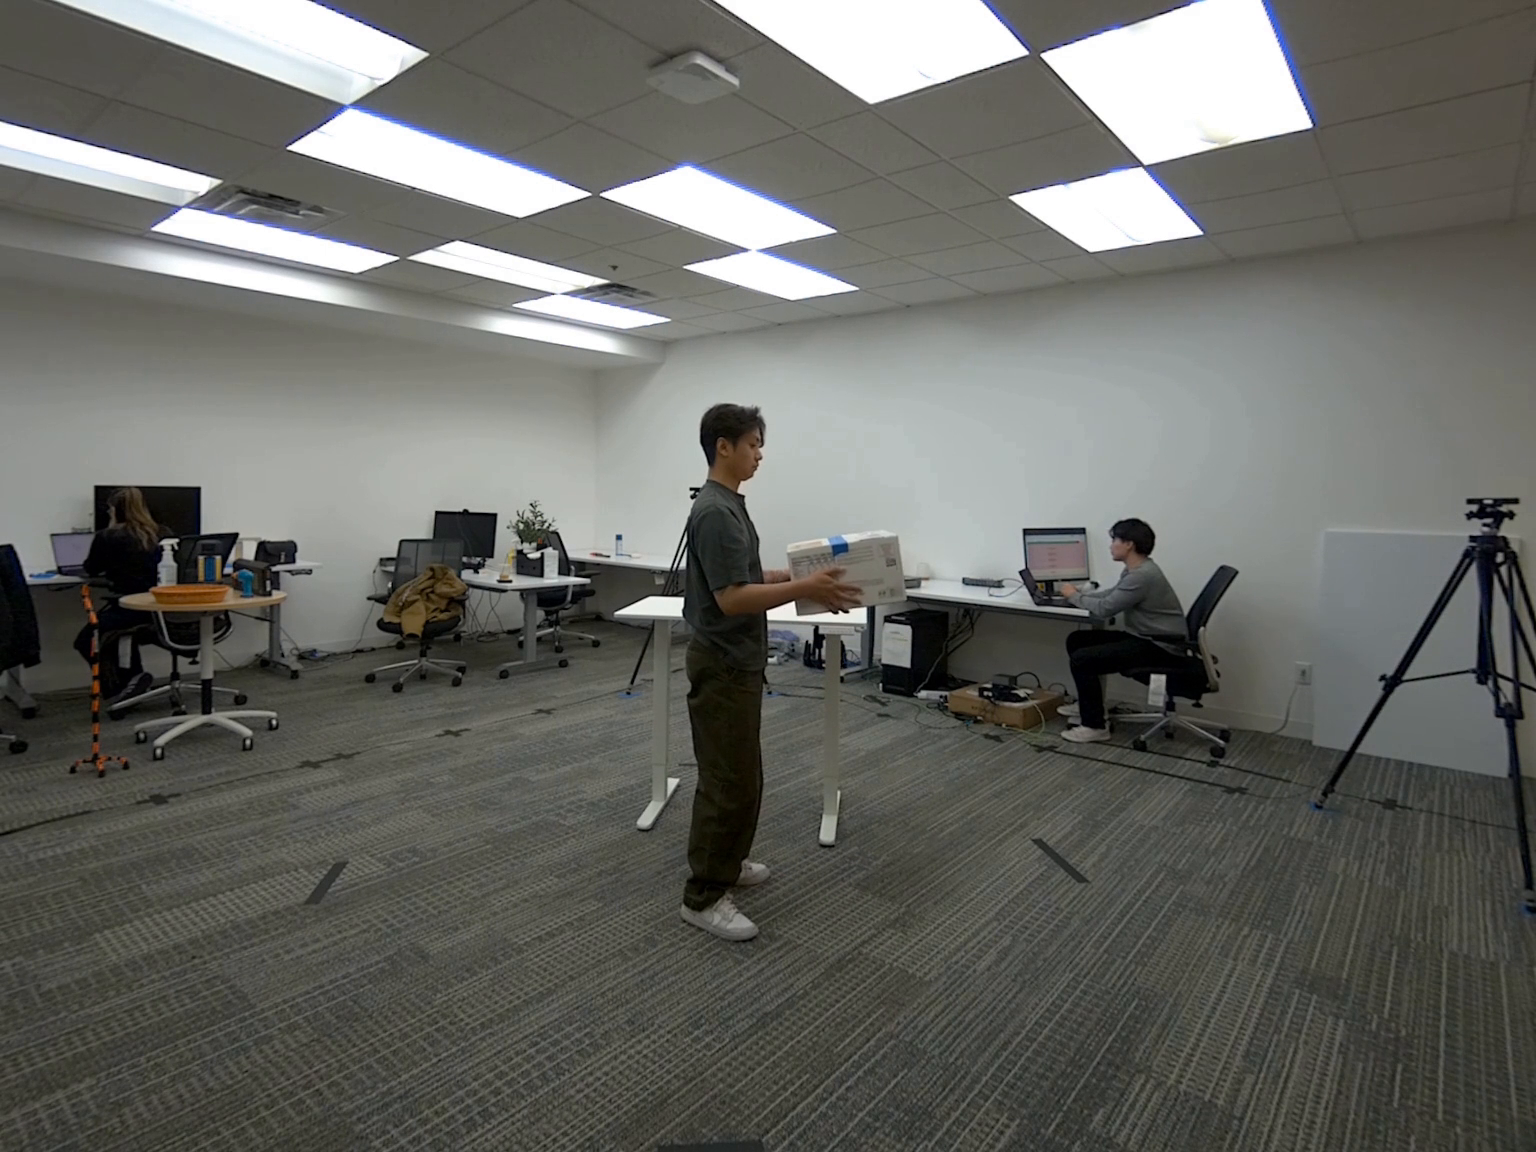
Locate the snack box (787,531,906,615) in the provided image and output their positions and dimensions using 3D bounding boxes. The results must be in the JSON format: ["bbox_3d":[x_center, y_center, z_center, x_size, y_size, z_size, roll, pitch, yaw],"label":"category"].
[{"bbox_3d":[0.237,-0.018,2.780,0.342,0.205,0.405,-8,5,4],"label":"snack box"}]
